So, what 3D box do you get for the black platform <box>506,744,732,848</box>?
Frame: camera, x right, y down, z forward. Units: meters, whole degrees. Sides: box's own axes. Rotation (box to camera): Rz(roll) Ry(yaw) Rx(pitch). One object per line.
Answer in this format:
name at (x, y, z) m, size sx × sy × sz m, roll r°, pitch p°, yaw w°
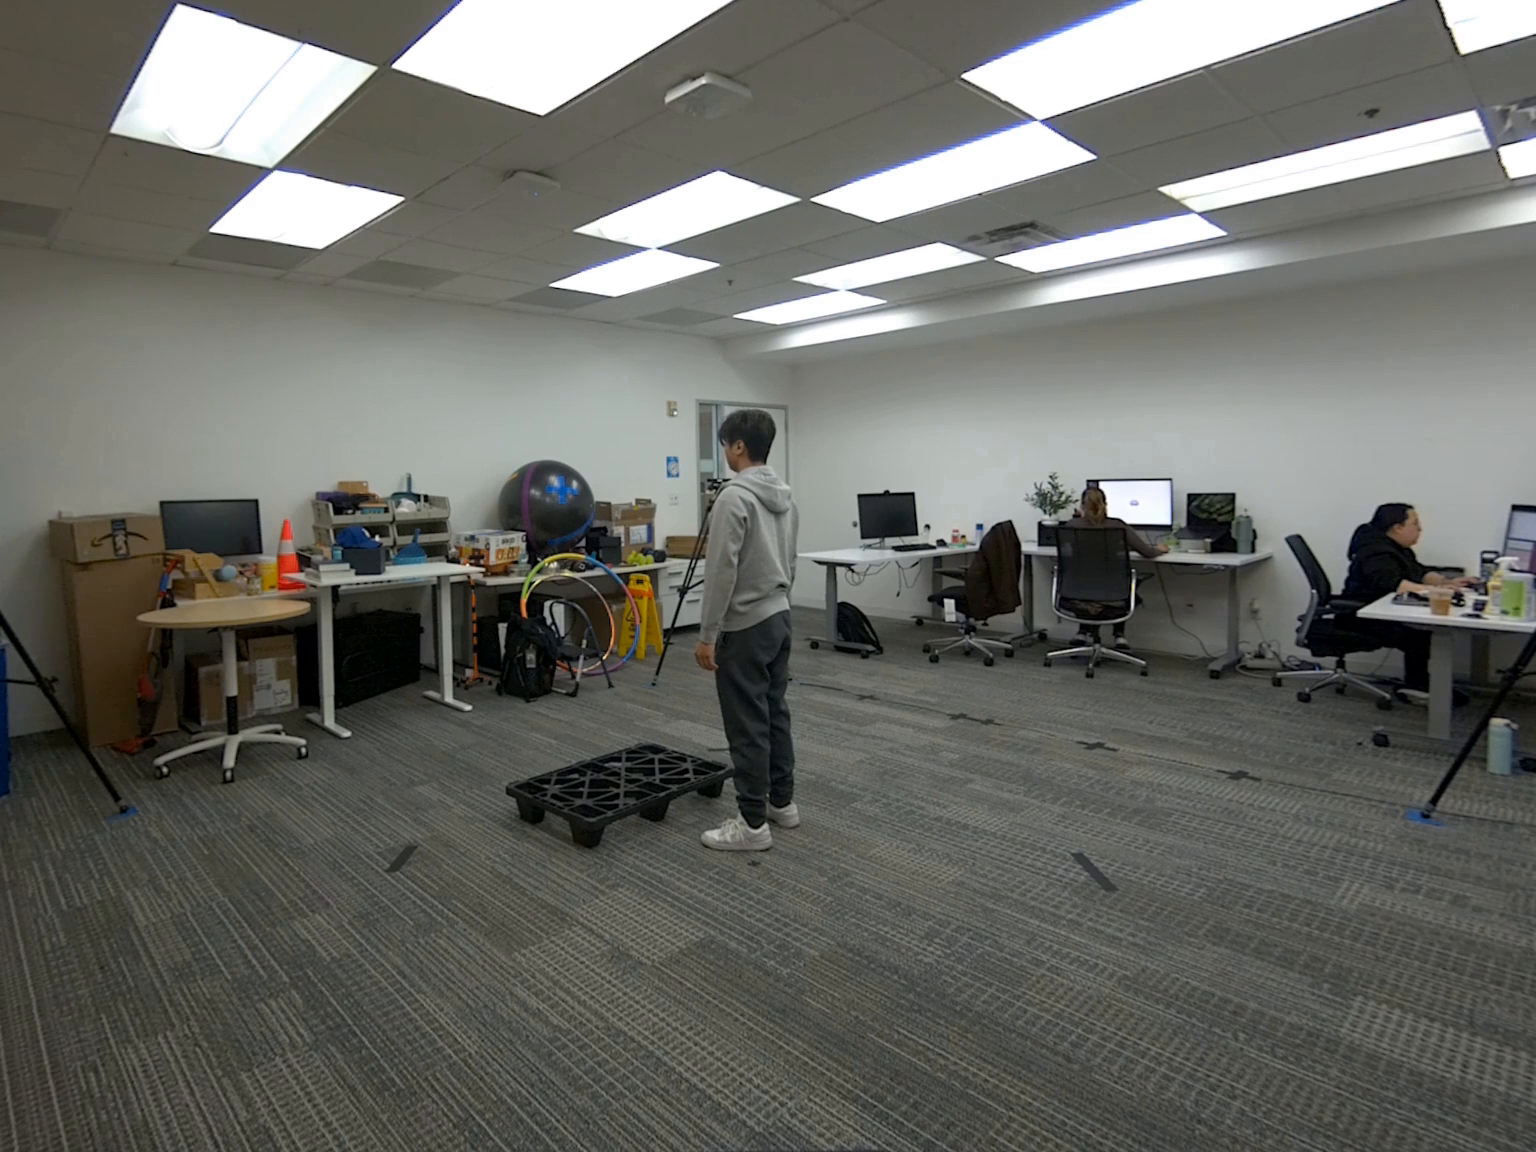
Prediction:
black platform at (-0.613, 0.926, 3.671) m, size 0.624 × 0.142 × 0.785 m, roll 5°, pitch 9°, yaw 41°
